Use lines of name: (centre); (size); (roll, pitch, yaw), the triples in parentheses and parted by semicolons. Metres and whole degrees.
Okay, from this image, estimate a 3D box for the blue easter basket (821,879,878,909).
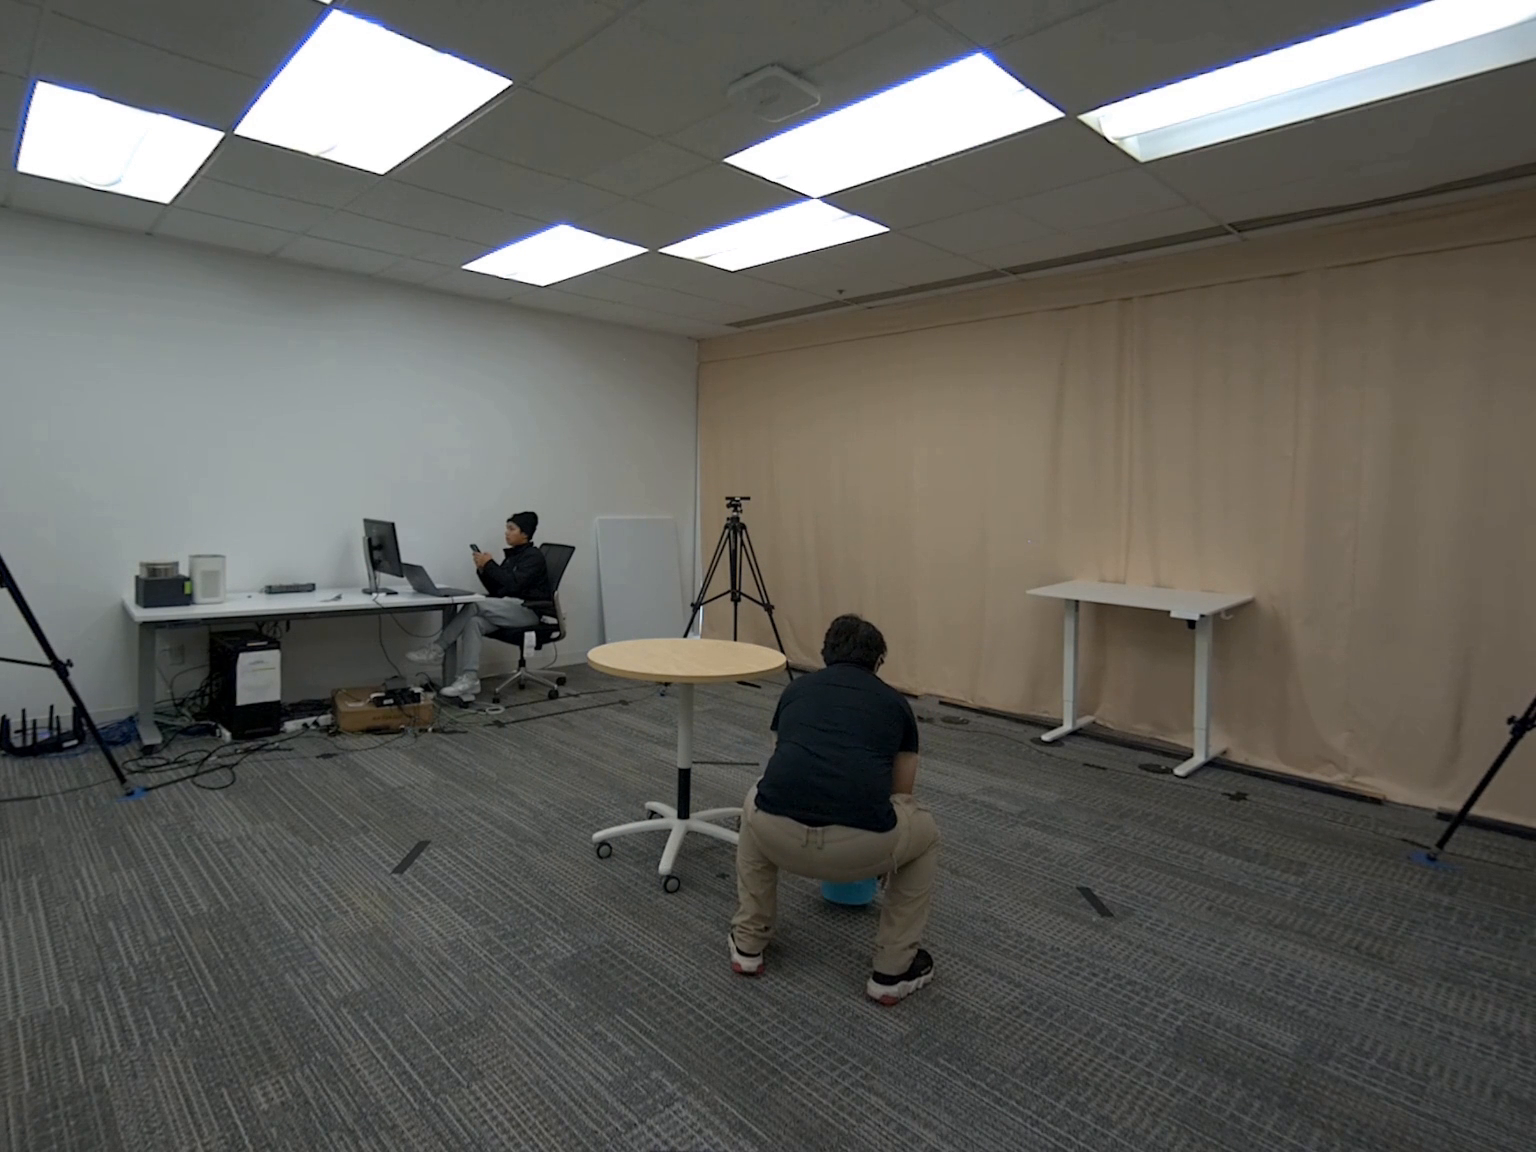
blue easter basket: (0.285, 1.028, 2.900); (0.243, 0.156, 0.243); (2, -2, -1)
